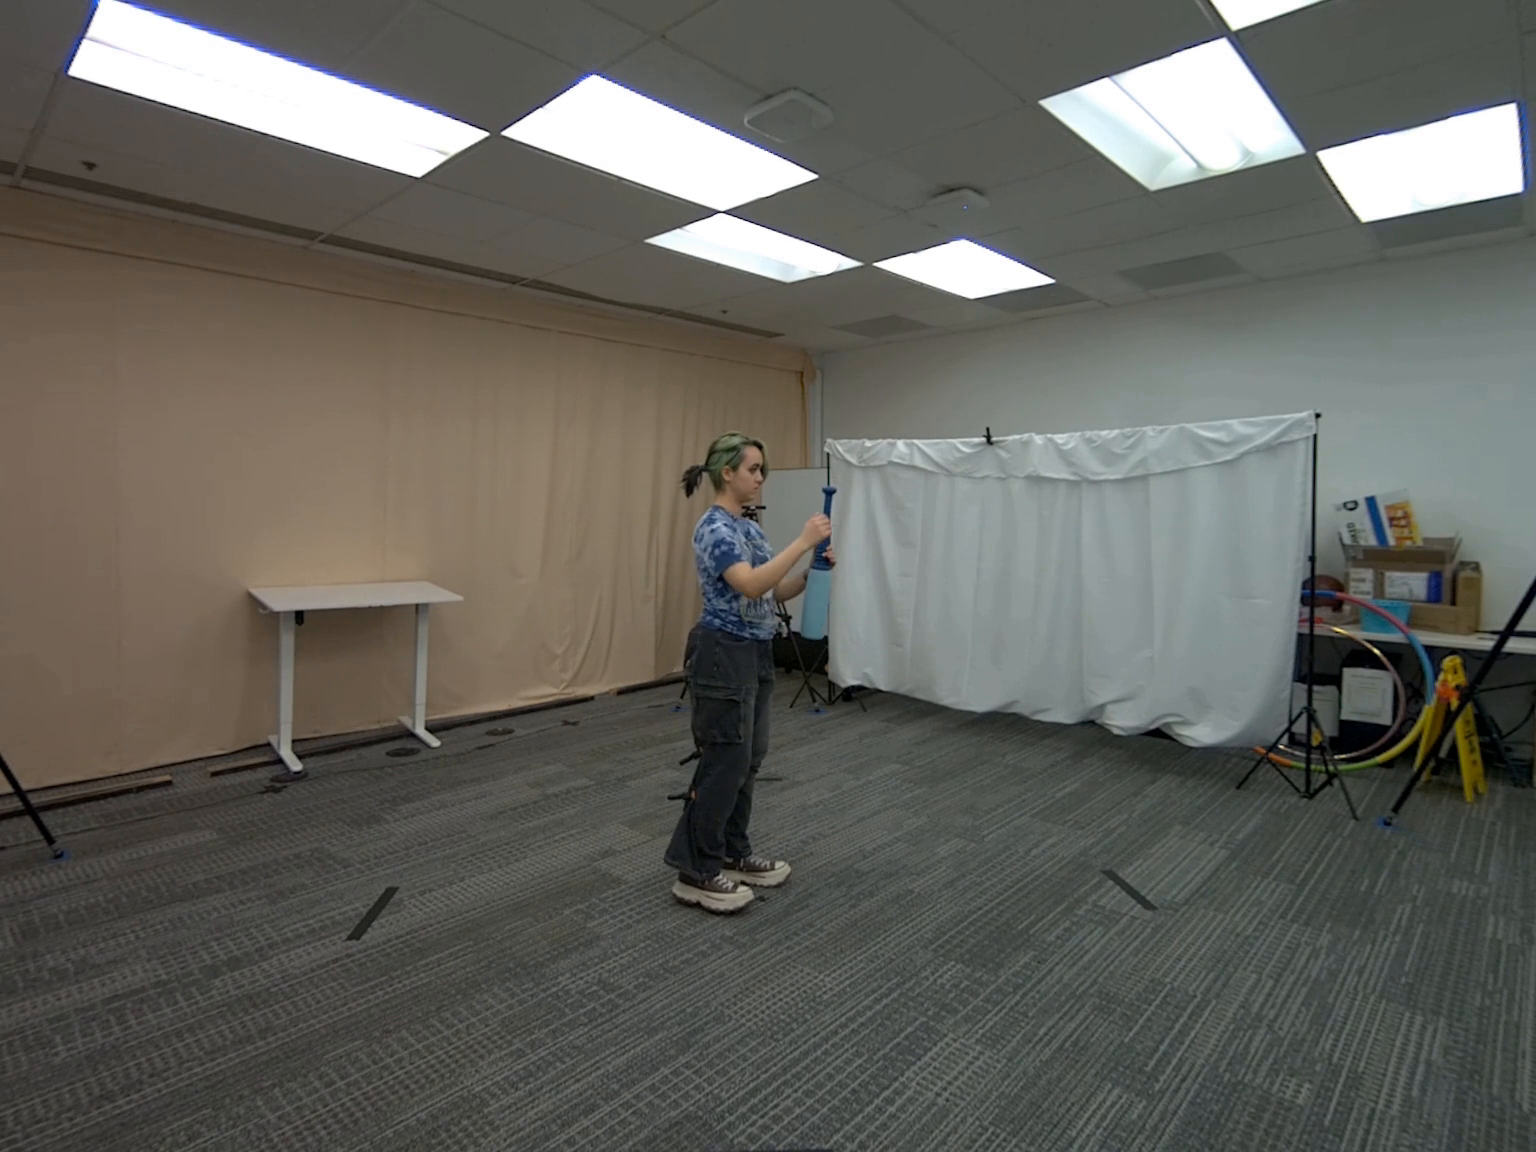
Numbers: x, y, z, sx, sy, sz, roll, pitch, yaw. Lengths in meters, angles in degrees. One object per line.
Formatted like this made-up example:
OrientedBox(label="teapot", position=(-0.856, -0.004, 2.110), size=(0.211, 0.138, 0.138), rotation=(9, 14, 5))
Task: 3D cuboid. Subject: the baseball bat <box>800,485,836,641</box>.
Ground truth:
OrientedBox(label="baseball bat", position=(0.186, -0.045, 2.969), size=(0.089, 0.542, 0.089), rotation=(9, 2, -2))
